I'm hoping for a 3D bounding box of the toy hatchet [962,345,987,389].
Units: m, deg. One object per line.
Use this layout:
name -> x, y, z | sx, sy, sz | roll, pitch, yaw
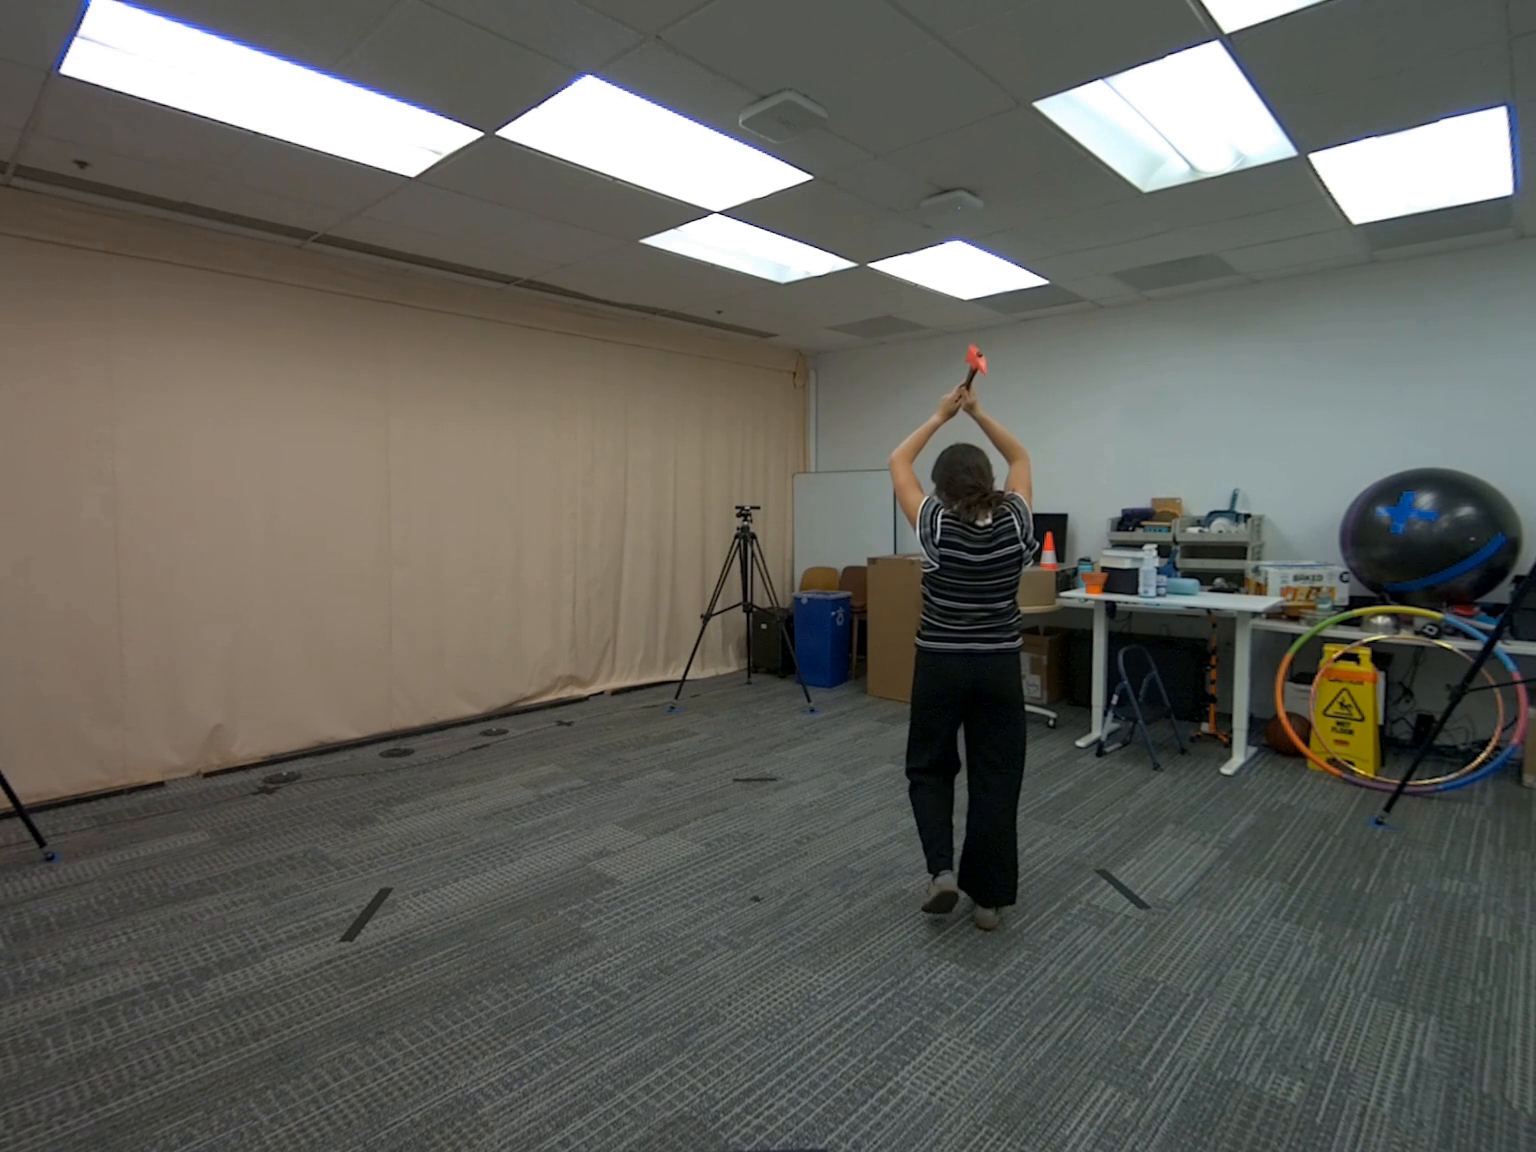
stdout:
toy hatchet -> 0.663, -0.676, 2.831 | 0.029, 0.132, 0.271 | -3, -15, -17
